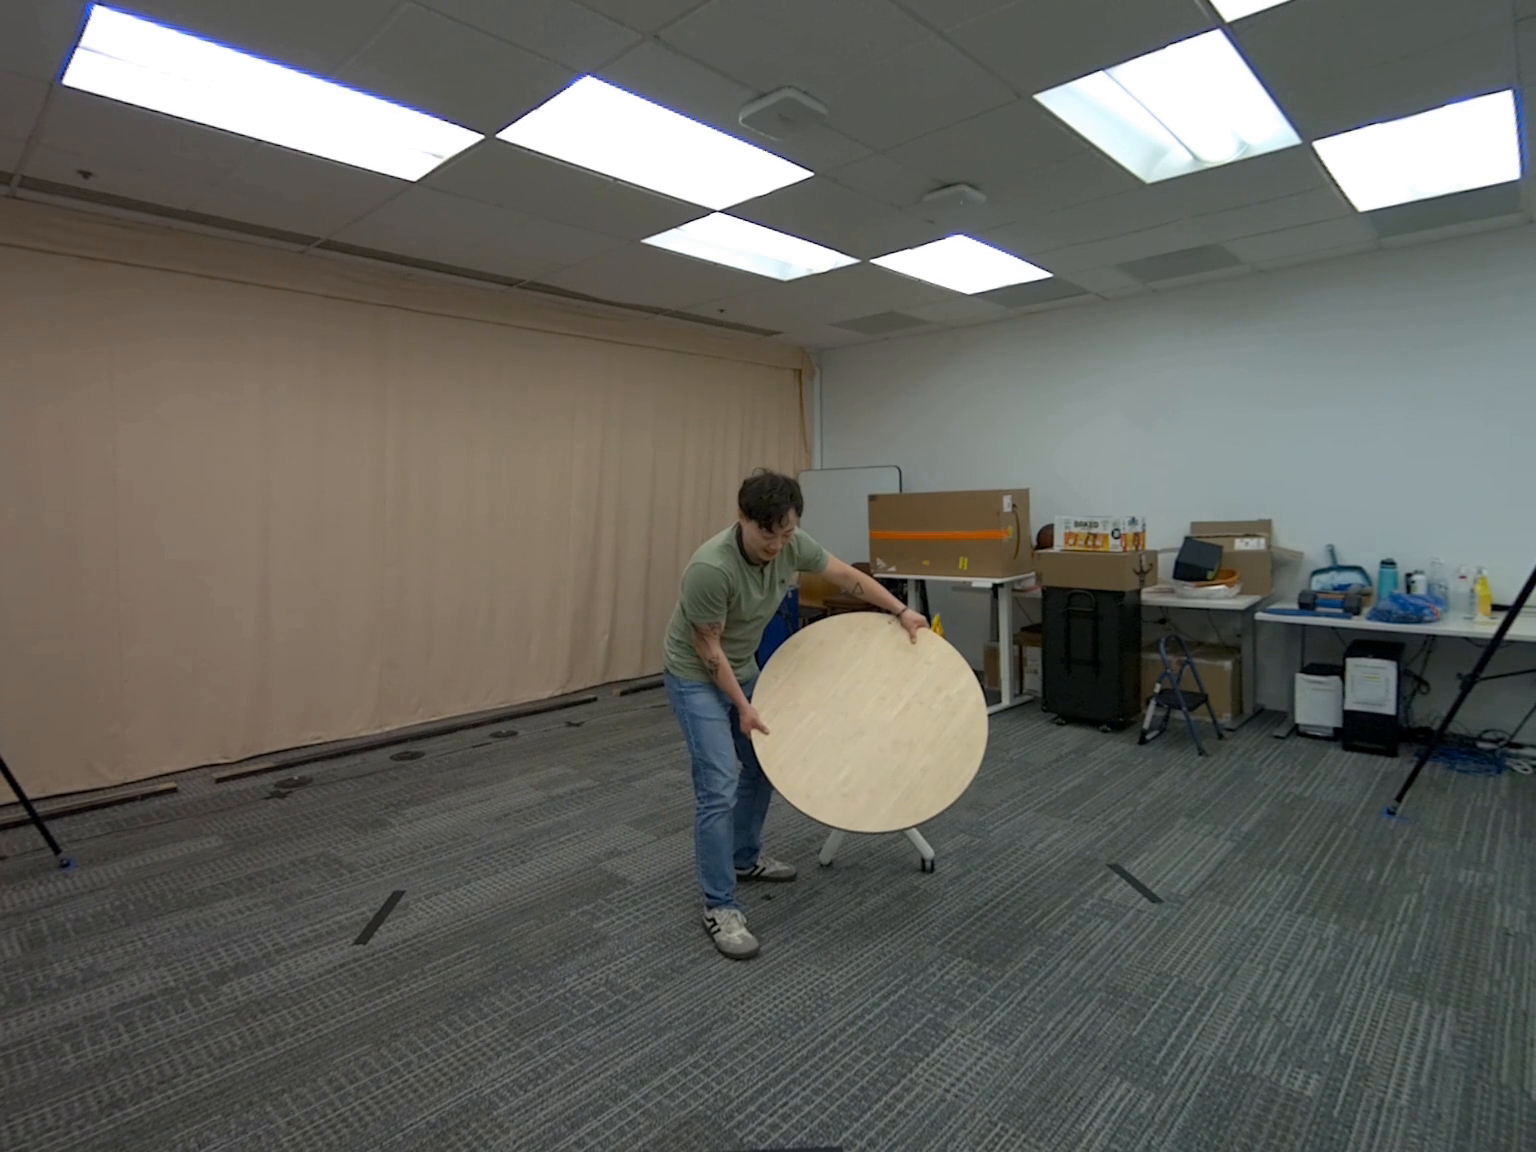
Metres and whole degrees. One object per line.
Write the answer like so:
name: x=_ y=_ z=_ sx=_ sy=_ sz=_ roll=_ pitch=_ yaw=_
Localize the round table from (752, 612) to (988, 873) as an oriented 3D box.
round table: x=0.369 y=0.664 z=3.071 sx=0.772 sy=0.775 sz=0.775 roll=0 pitch=-34 yaw=8
